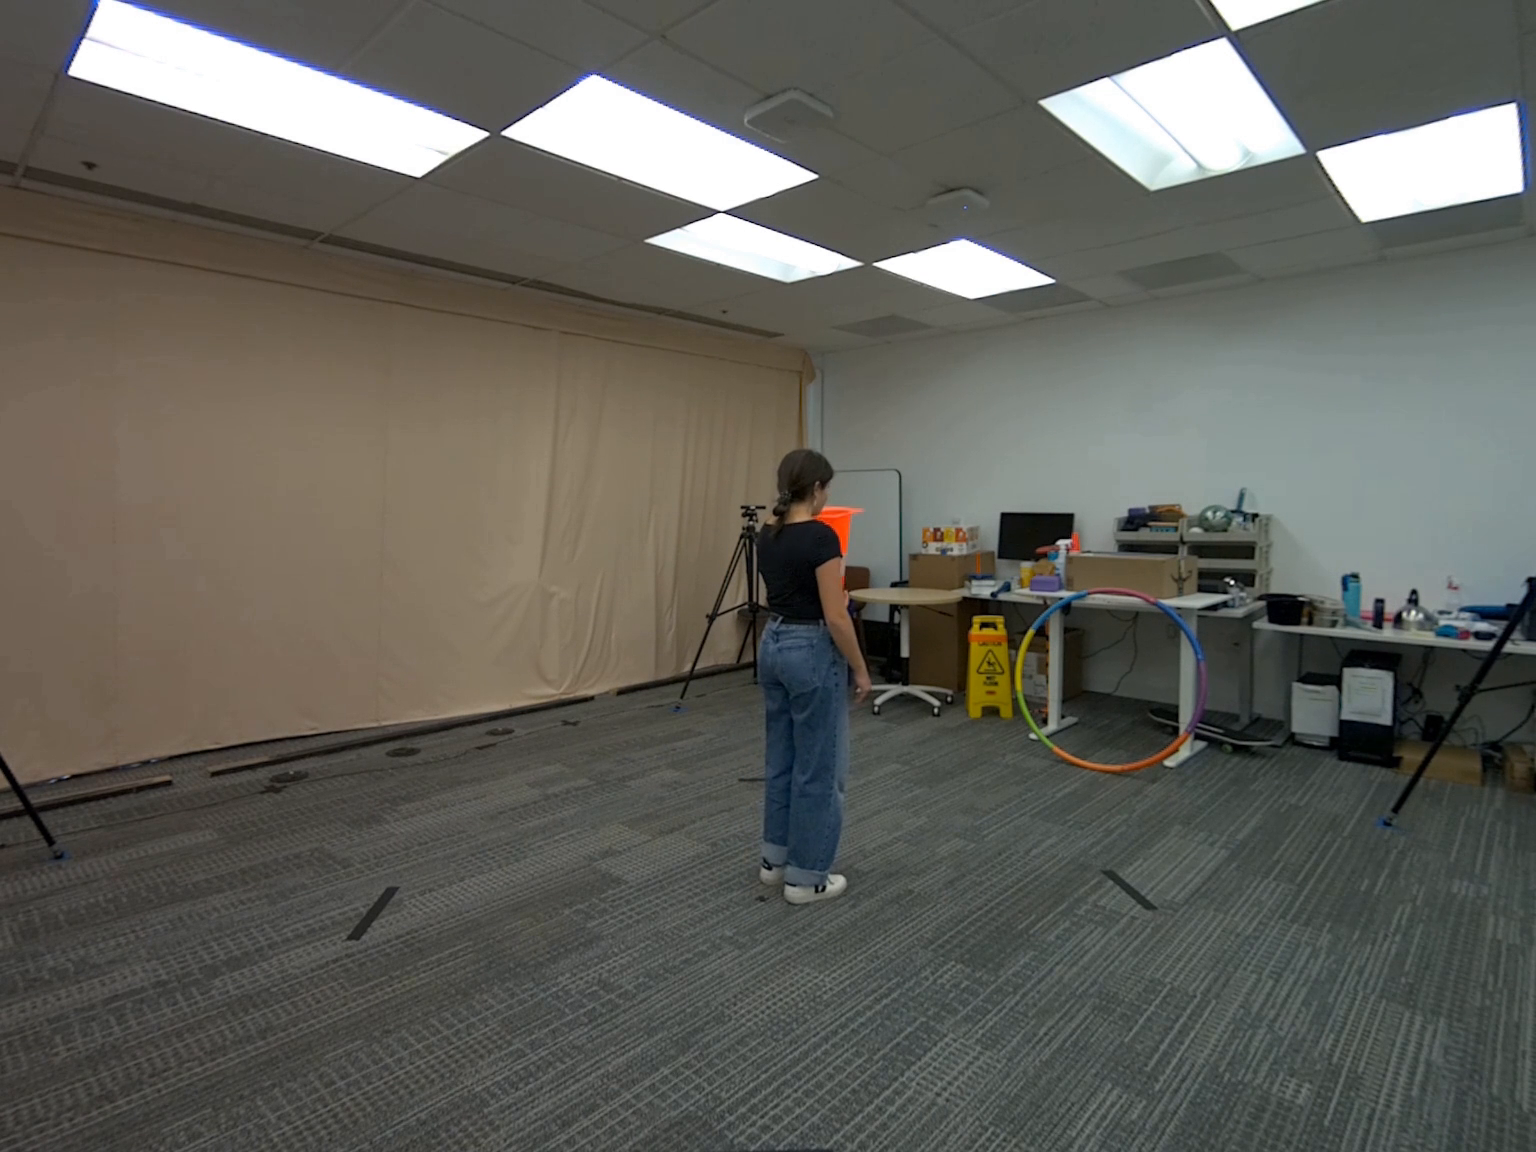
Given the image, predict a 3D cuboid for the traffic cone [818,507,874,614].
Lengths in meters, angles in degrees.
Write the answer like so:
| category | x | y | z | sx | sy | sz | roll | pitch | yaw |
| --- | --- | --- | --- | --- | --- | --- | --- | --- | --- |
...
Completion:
| category | x | y | z | sx | sy | sz | roll | pitch | yaw |
| --- | --- | --- | --- | --- | --- | --- | --- | --- | --- |
| traffic cone | 0.284 | -0.068 | 3.375 | 0.210 | 0.380 | 0.200 | 0 | 13 | 22 |
